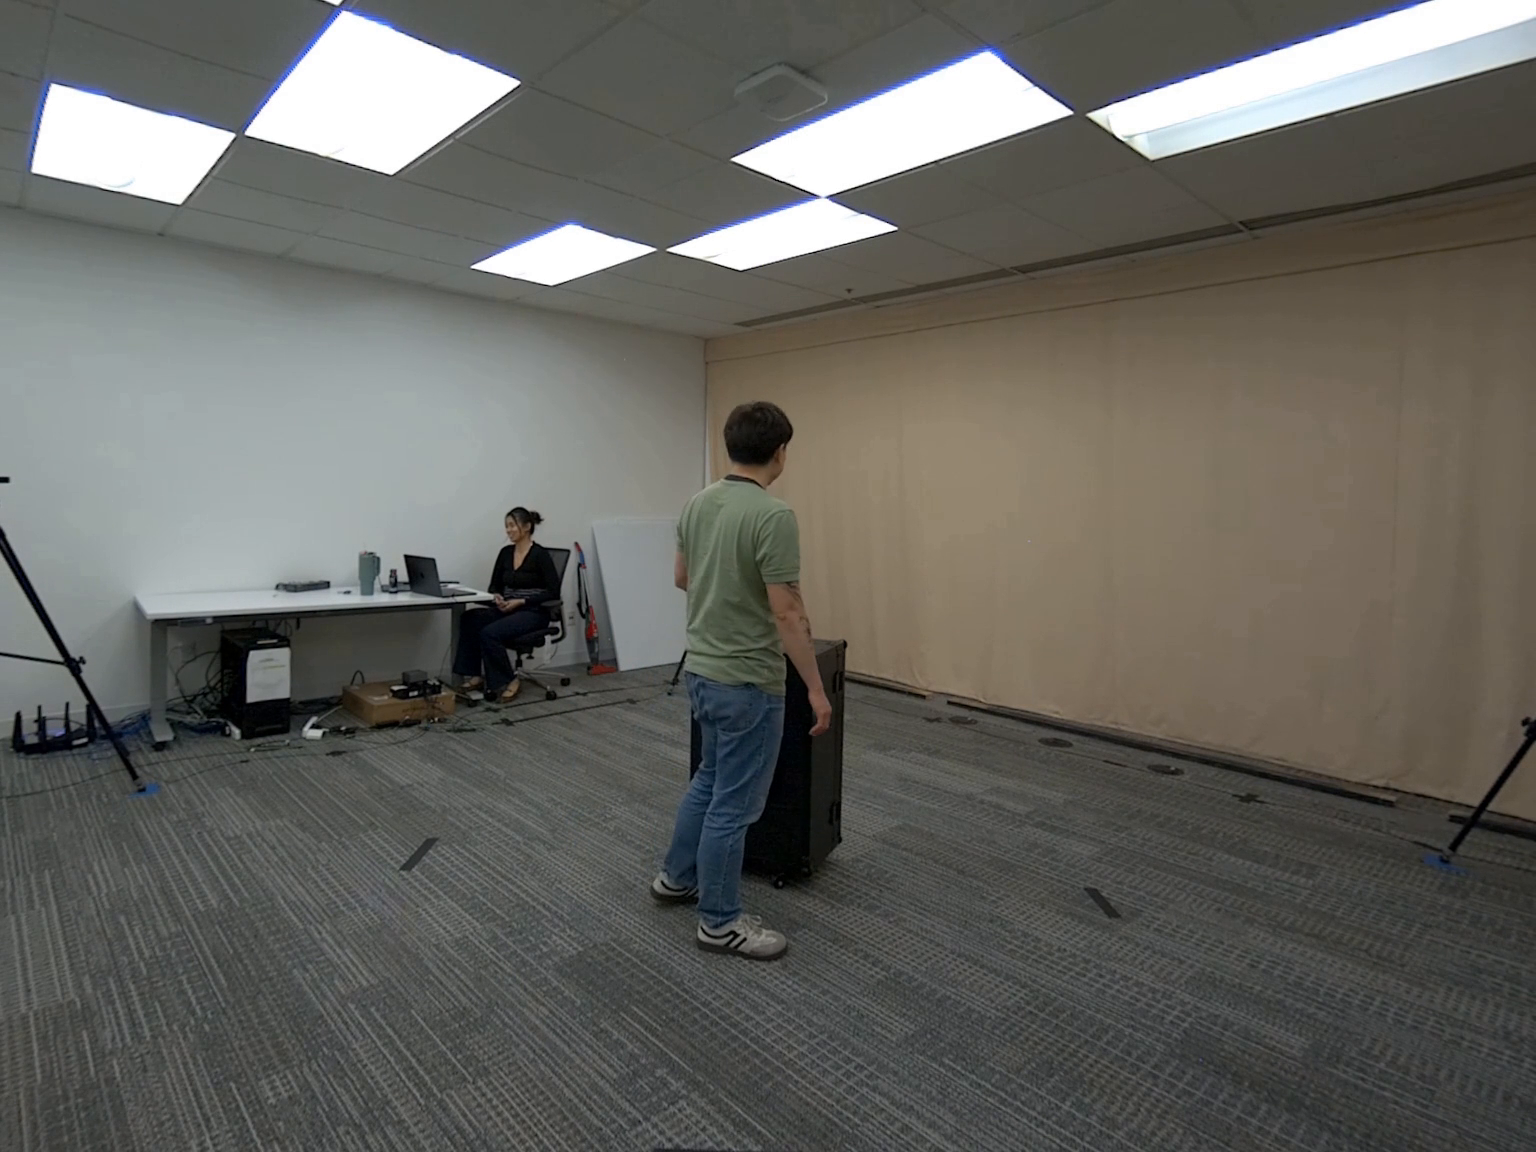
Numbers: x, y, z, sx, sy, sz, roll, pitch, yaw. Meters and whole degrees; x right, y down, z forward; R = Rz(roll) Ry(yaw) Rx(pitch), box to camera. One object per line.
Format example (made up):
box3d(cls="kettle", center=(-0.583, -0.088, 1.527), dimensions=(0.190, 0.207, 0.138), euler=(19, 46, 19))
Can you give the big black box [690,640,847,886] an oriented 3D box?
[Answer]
box3d(cls="big black box", center=(-0.004, 0.674, 3.168), dimensions=(0.531, 0.859, 0.390), euler=(3, 5, 25))
